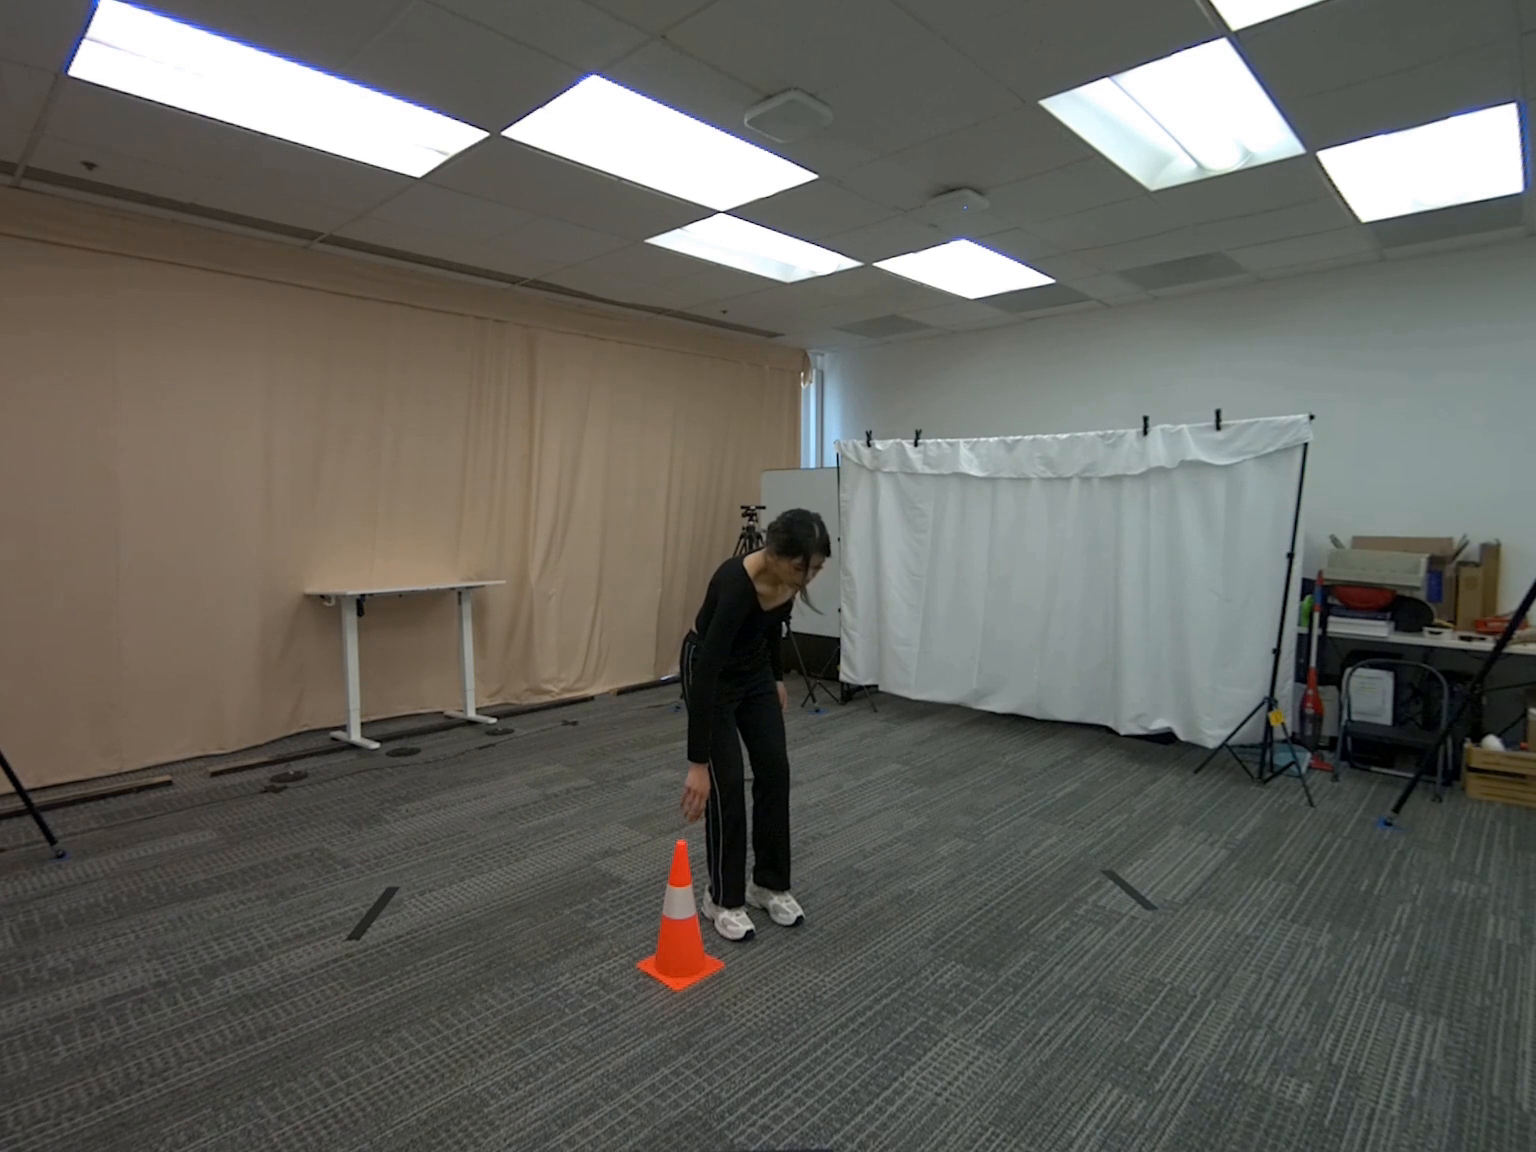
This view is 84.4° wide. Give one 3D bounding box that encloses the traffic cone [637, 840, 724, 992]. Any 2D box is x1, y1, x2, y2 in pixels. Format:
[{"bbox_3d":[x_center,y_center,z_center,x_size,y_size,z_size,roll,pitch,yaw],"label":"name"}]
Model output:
[{"bbox_3d":[-0.263,0.996,2.541,0.198,0.383,0.211,-3,3,-32],"label":"traffic cone"}]
